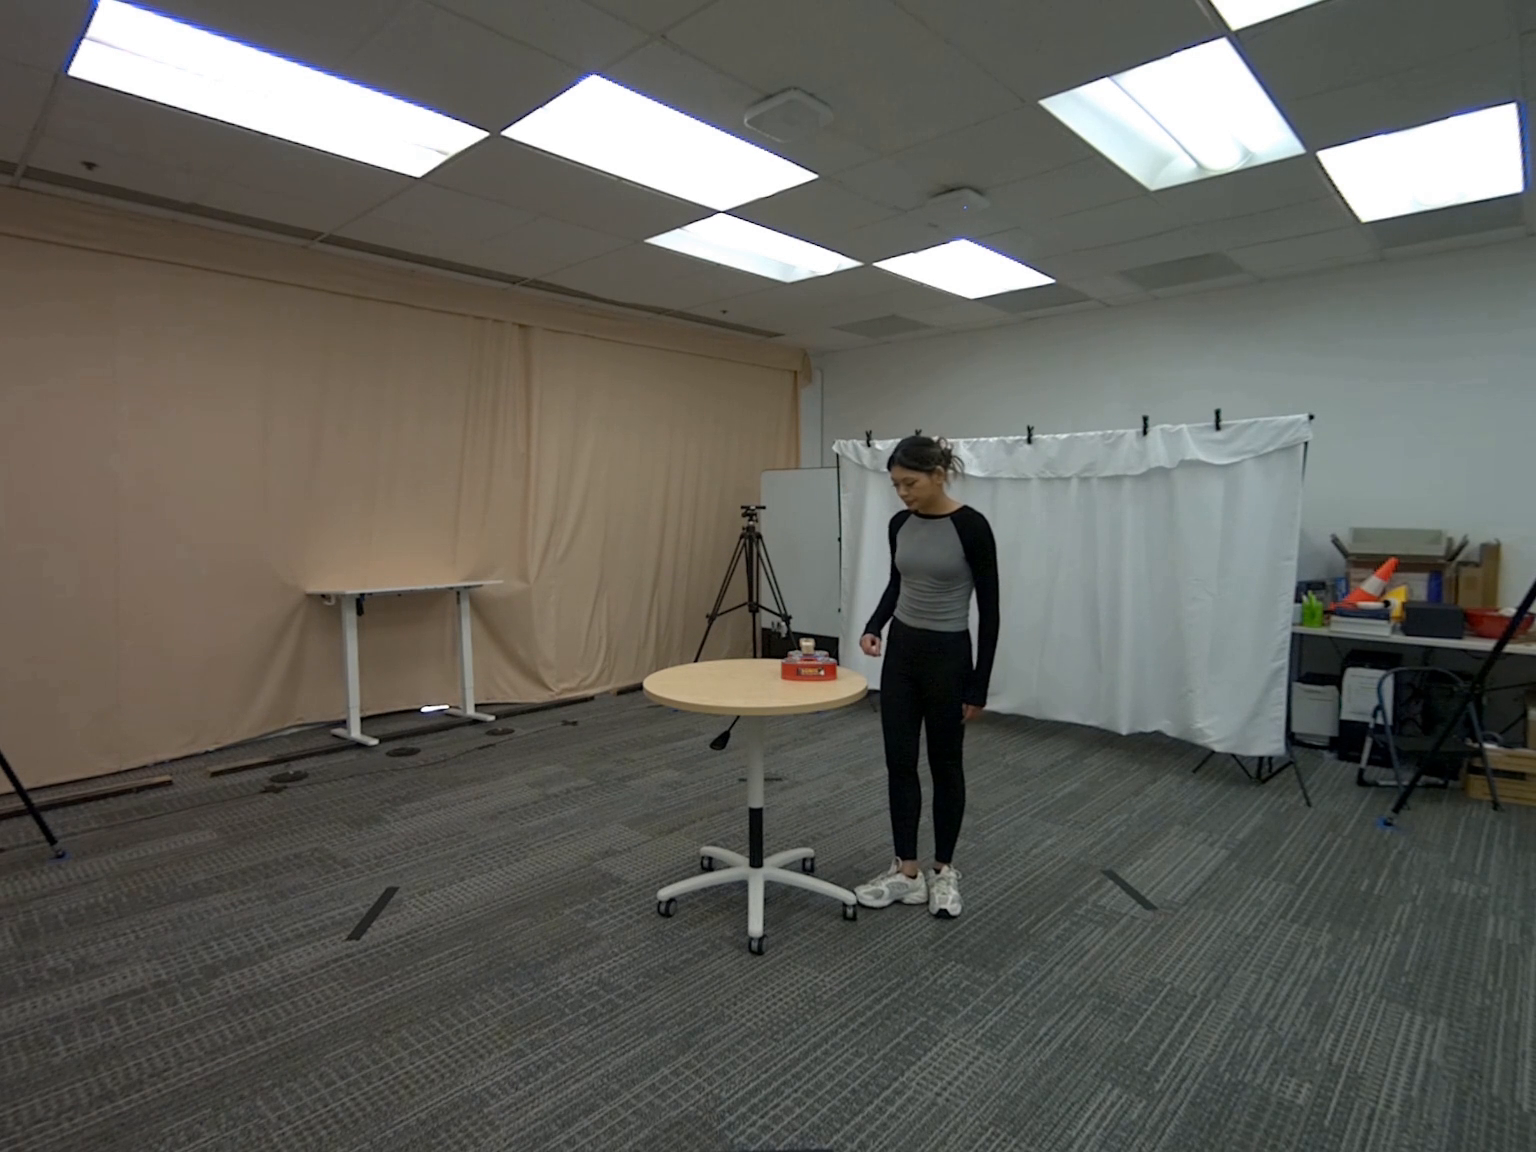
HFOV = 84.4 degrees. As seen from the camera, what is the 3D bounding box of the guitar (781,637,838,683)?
[{"bbox_3d":[0.177,0.306,3.100,0.195,0.070,0.493,0,6,10],"label":"guitar"}]
